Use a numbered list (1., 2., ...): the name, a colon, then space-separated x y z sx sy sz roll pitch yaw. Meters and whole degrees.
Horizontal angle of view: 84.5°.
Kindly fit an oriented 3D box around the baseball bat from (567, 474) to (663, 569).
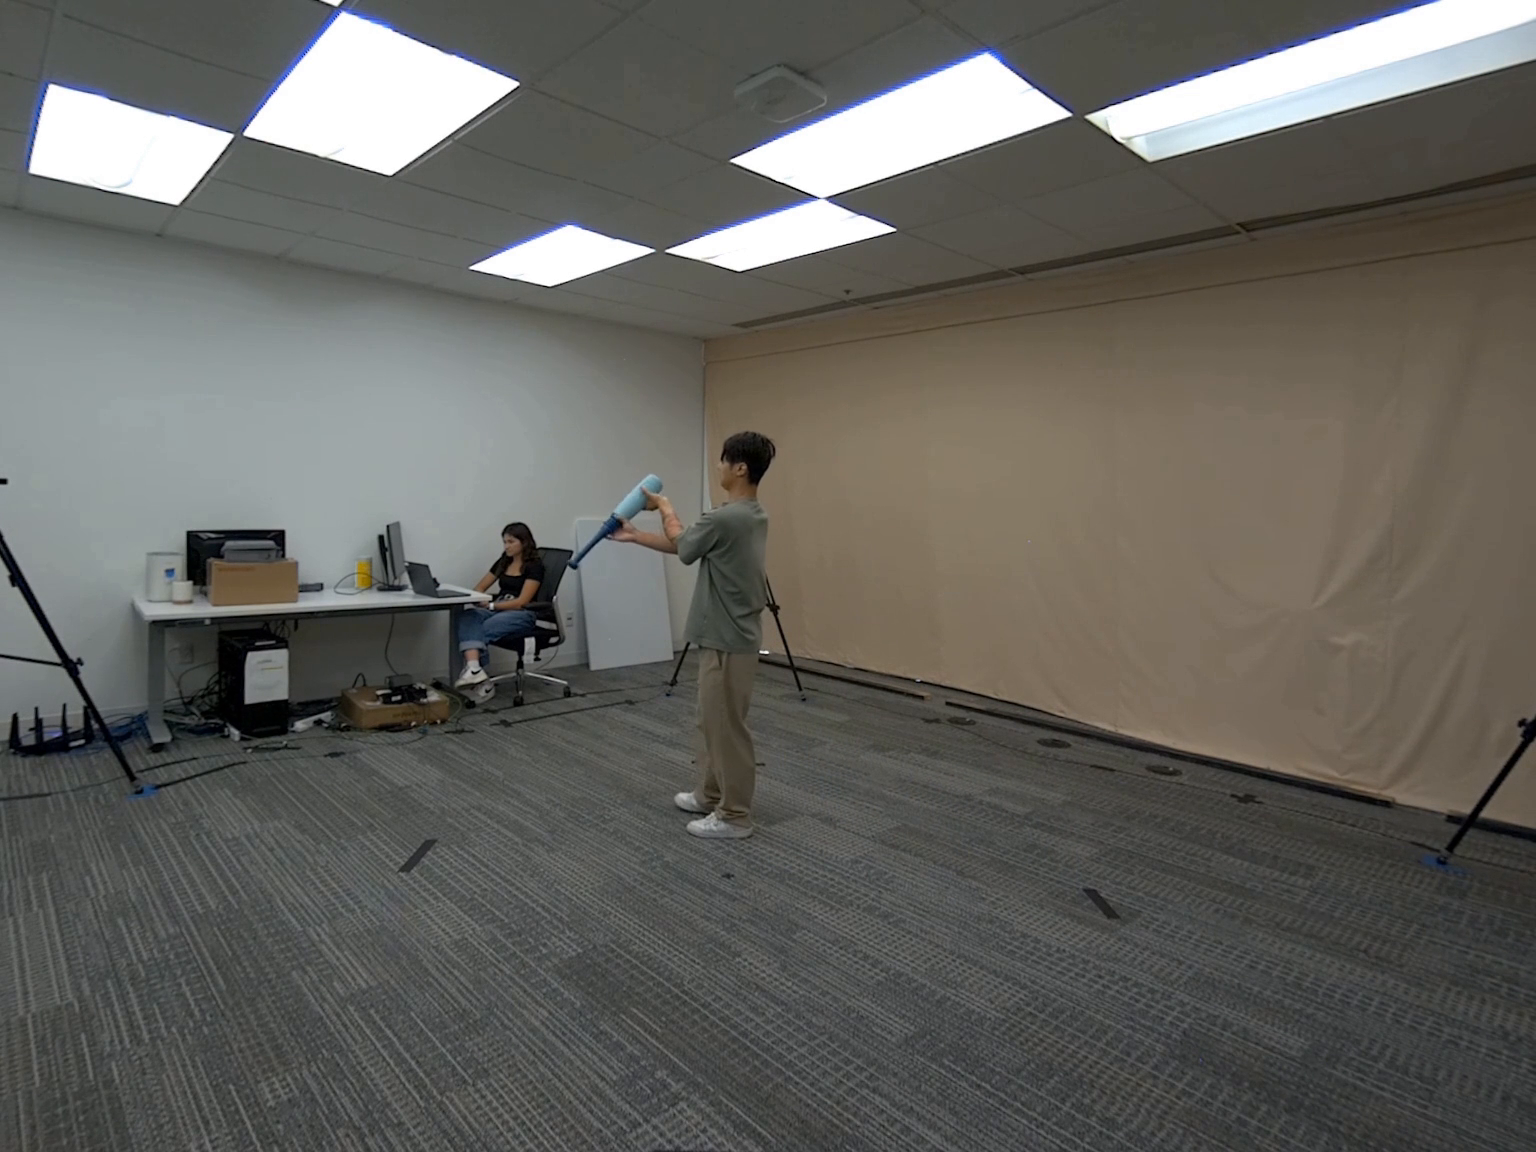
1. baseball bat: -0.657 -0.233 3.562 0.543 0.087 0.091 -49 27 -20
